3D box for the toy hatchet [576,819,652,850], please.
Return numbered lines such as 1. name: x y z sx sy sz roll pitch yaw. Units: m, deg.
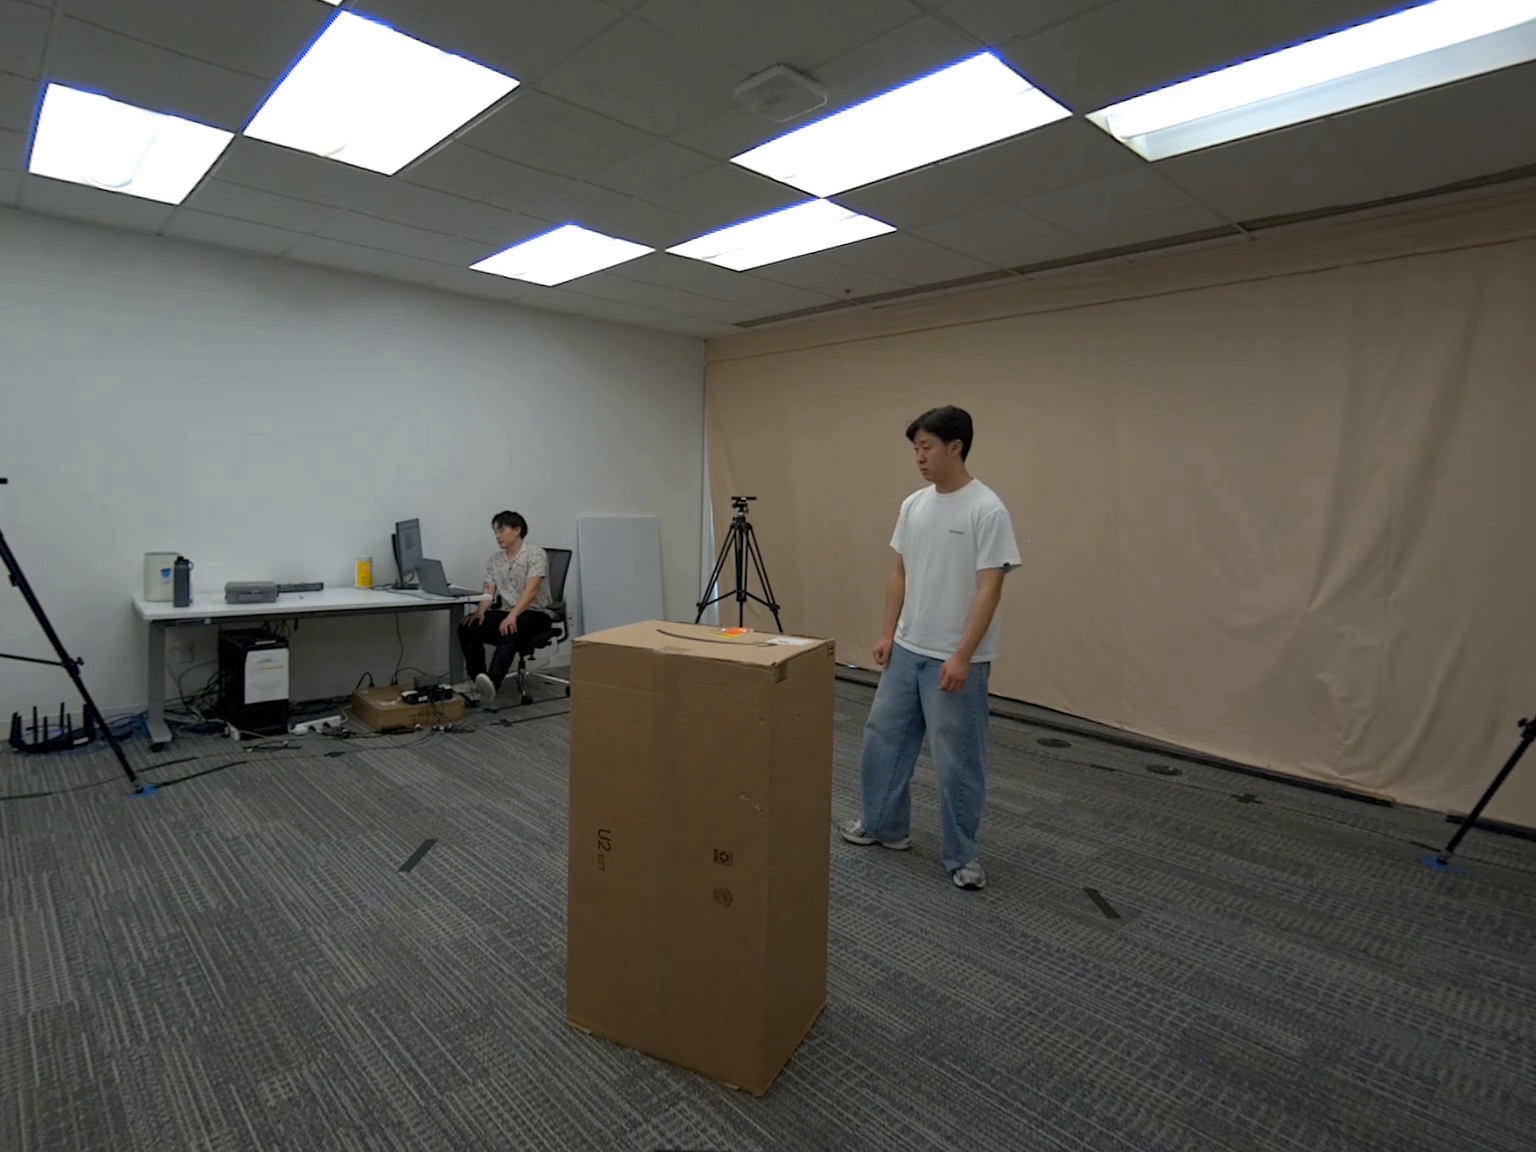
1. toy hatchet: -0.626 1.048 3.442 0.274 0.029 0.129 5 6 17
